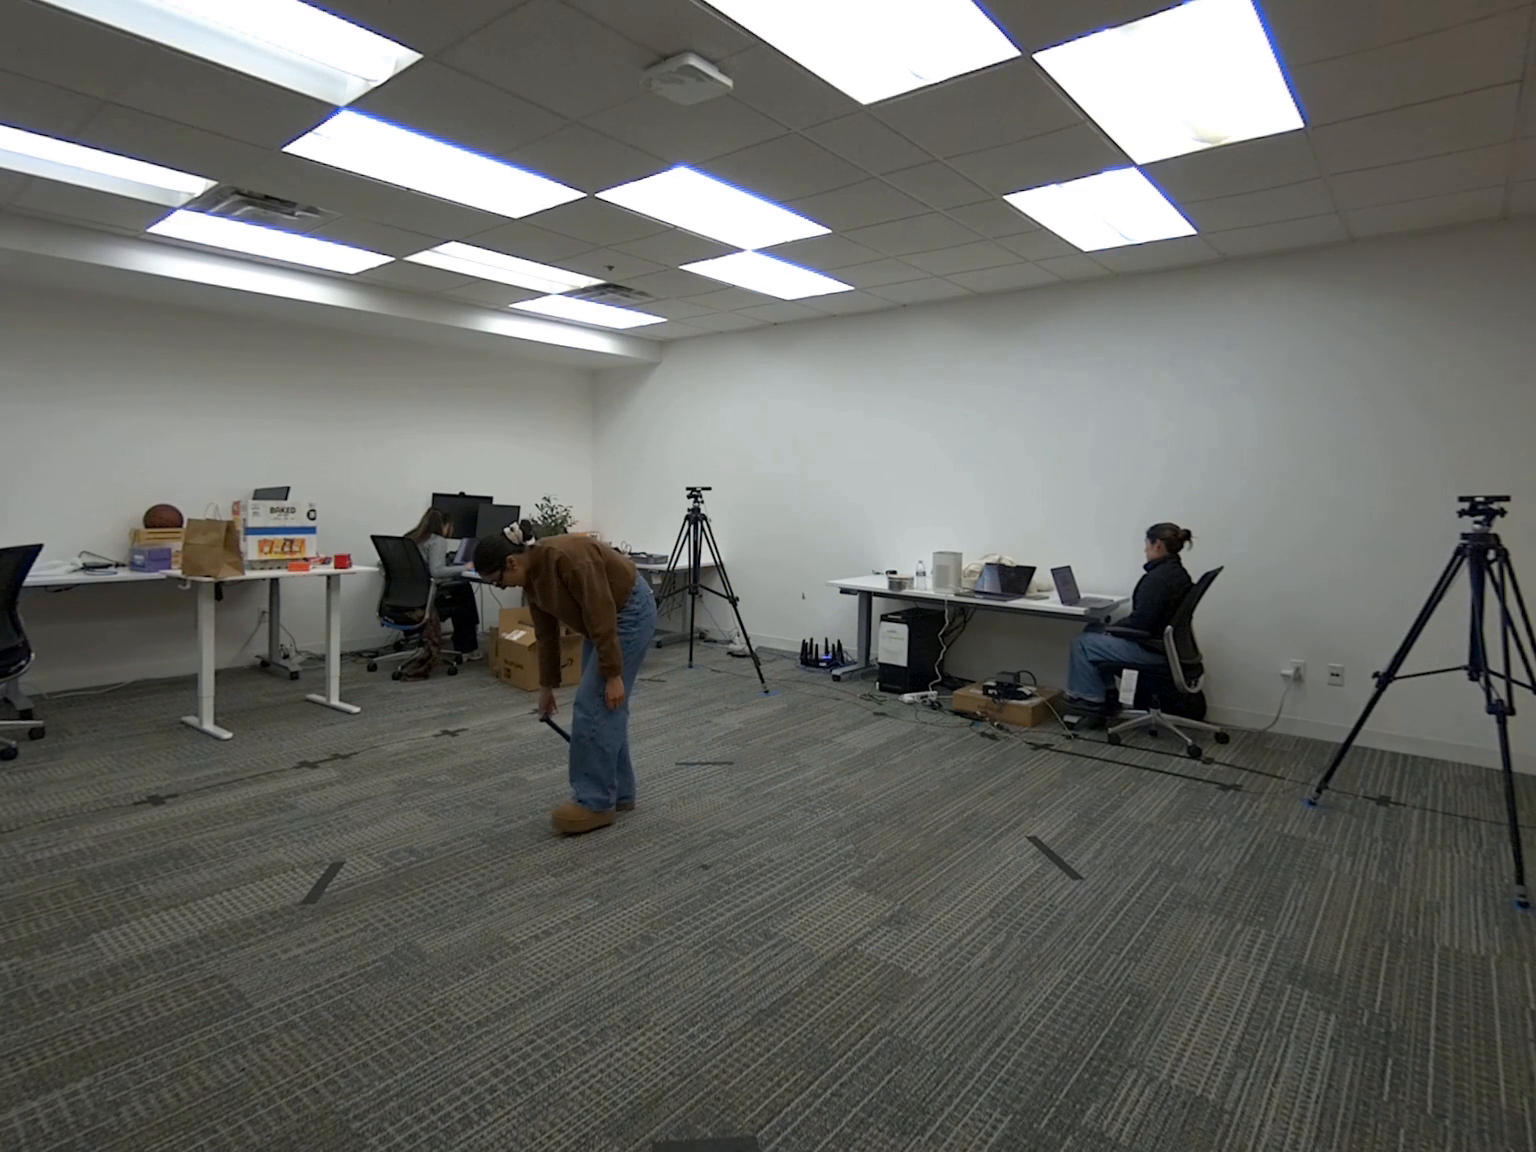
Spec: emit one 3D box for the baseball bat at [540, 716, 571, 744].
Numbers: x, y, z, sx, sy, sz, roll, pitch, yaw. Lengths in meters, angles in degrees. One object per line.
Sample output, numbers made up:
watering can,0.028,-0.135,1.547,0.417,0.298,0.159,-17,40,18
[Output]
baseball bat,-0.843,0.781,3.837,0.525,0.089,0.092,46,-21,-27
